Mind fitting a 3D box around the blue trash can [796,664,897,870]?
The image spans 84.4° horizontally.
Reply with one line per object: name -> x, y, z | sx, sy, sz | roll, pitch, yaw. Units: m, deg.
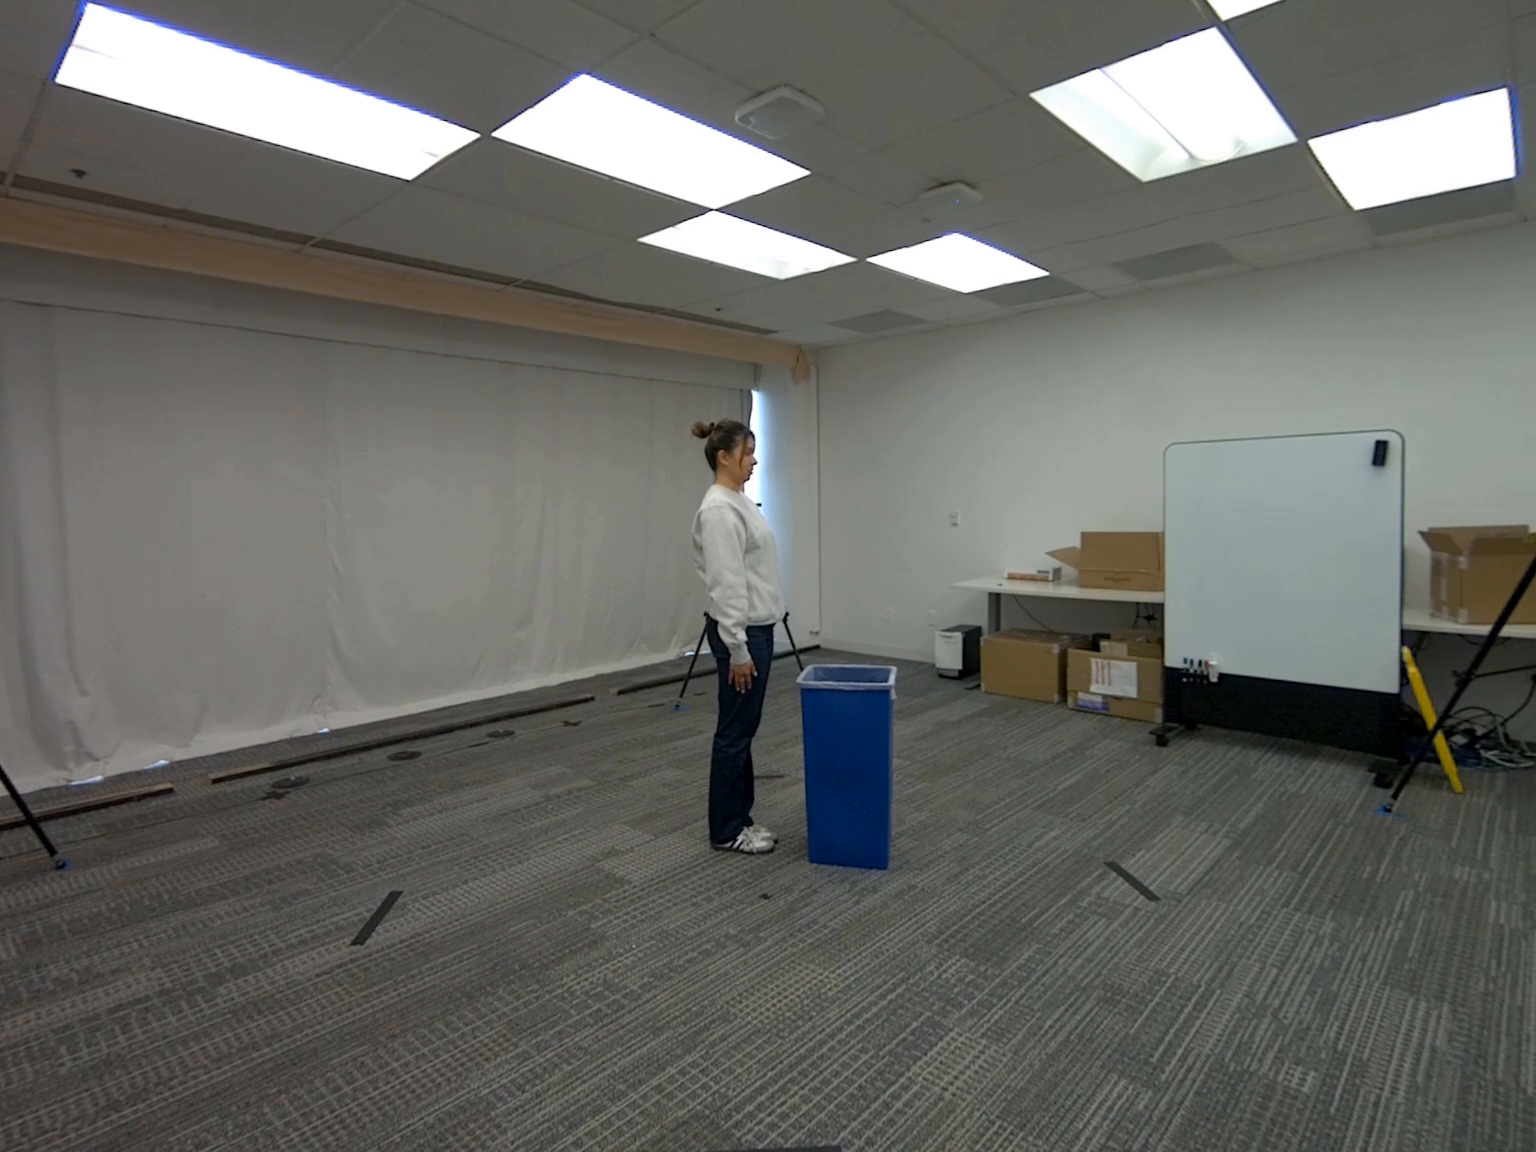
blue trash can -> 0.322, 0.742, 3.333 | 0.380, 0.712, 0.373 | 0, 3, 13
